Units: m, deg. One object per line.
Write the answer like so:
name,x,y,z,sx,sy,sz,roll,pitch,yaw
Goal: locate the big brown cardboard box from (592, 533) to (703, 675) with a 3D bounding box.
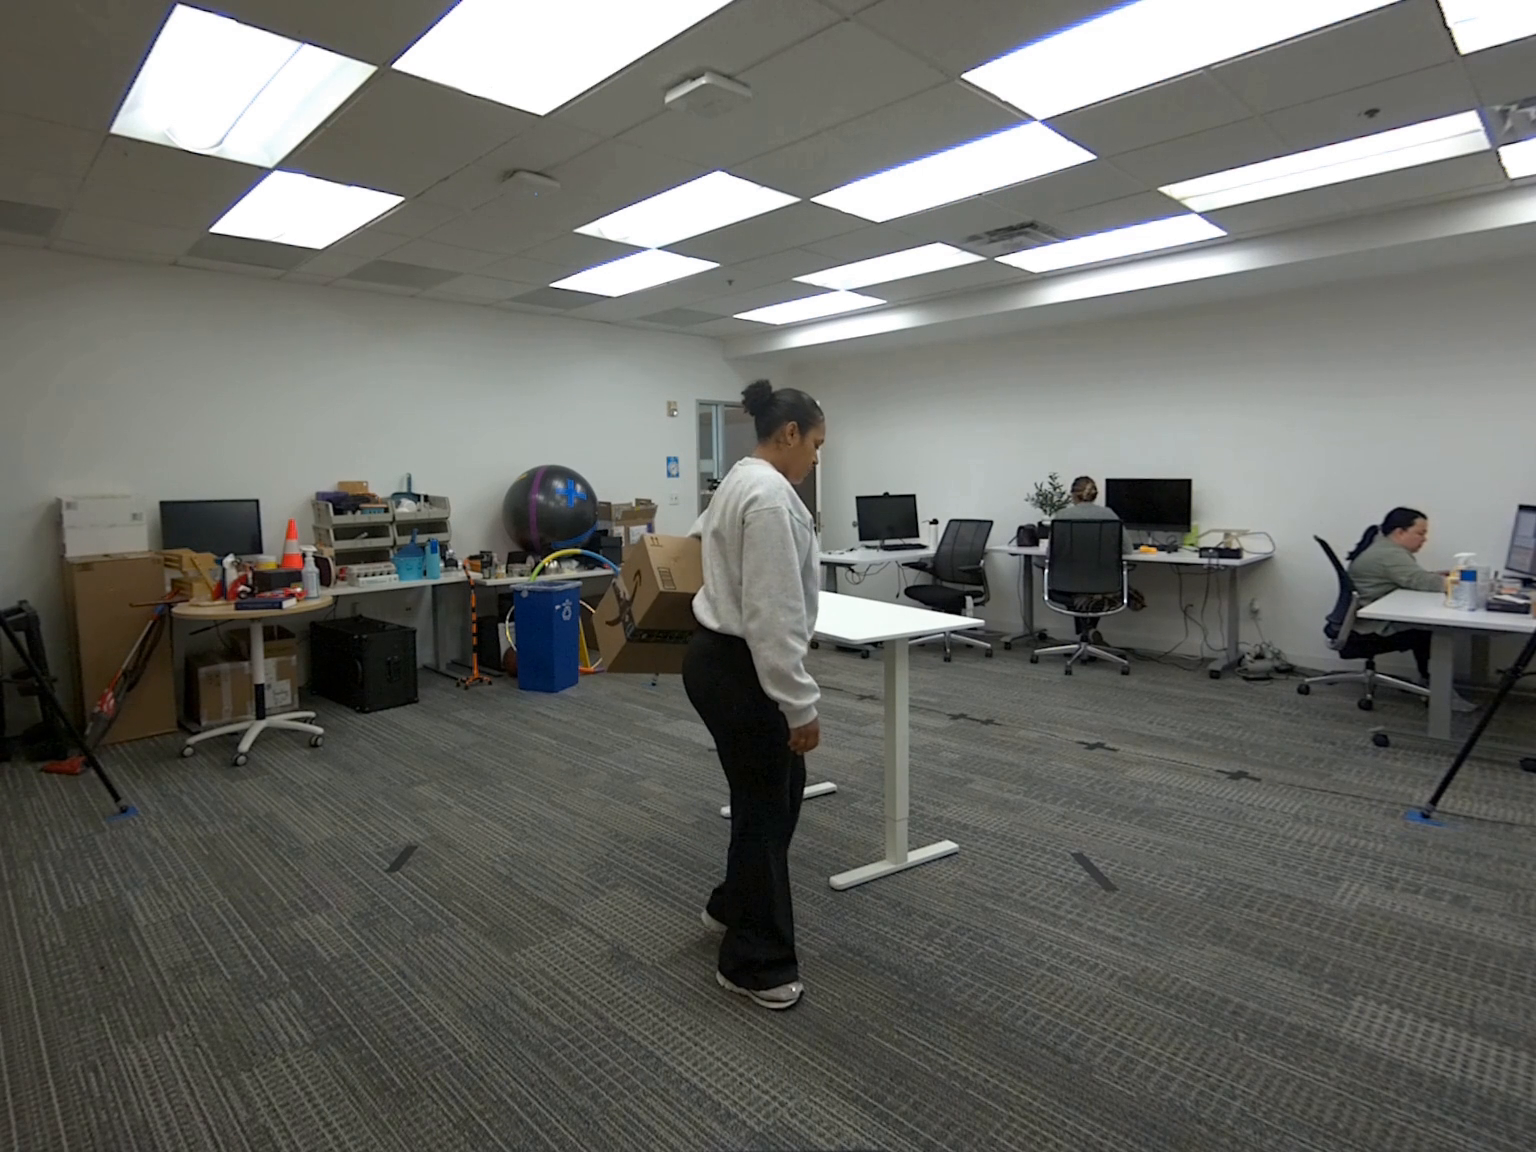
big brown cardboard box,-0.193,0.105,2.685,0.572,0.241,0.415,4,-42,-35
